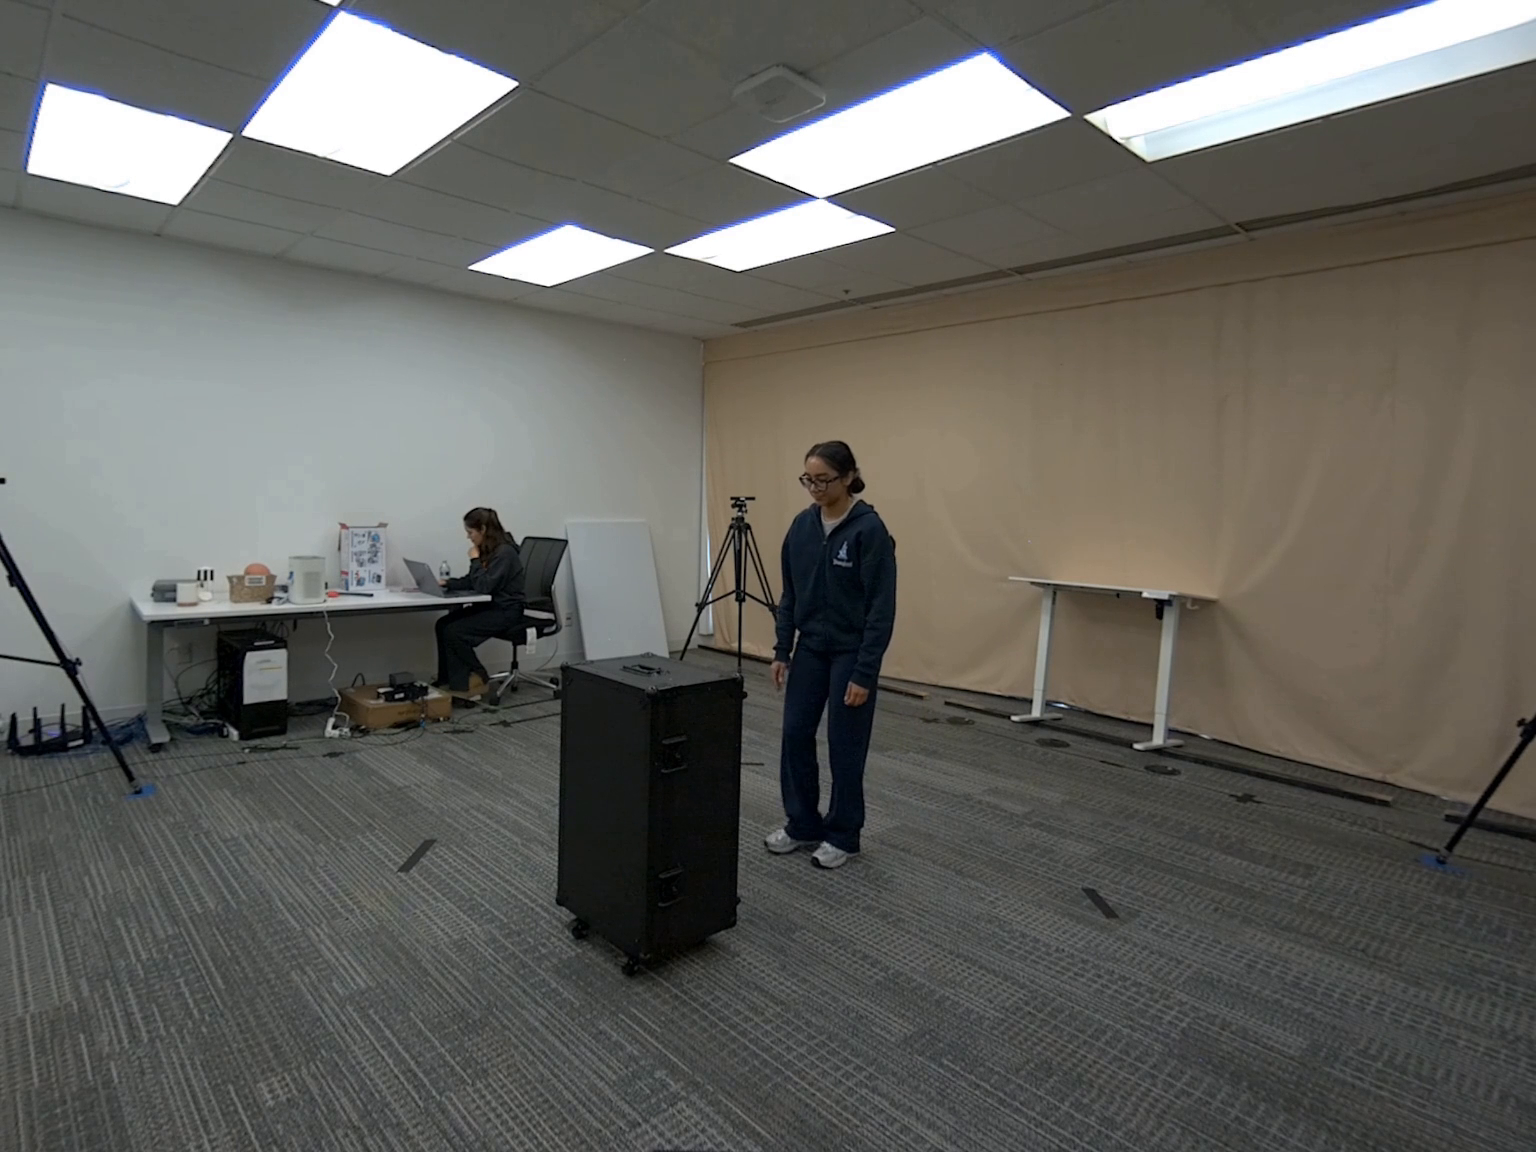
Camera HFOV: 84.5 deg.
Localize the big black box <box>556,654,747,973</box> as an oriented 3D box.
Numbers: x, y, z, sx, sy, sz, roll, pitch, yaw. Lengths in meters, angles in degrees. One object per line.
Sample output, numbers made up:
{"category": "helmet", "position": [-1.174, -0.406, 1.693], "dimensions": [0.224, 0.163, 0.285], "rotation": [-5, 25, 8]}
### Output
{"category": "big black box", "position": [-0.379, 0.722, 2.652], "dimensions": [0.387, 0.860, 0.534], "rotation": [1, 3, -44]}
